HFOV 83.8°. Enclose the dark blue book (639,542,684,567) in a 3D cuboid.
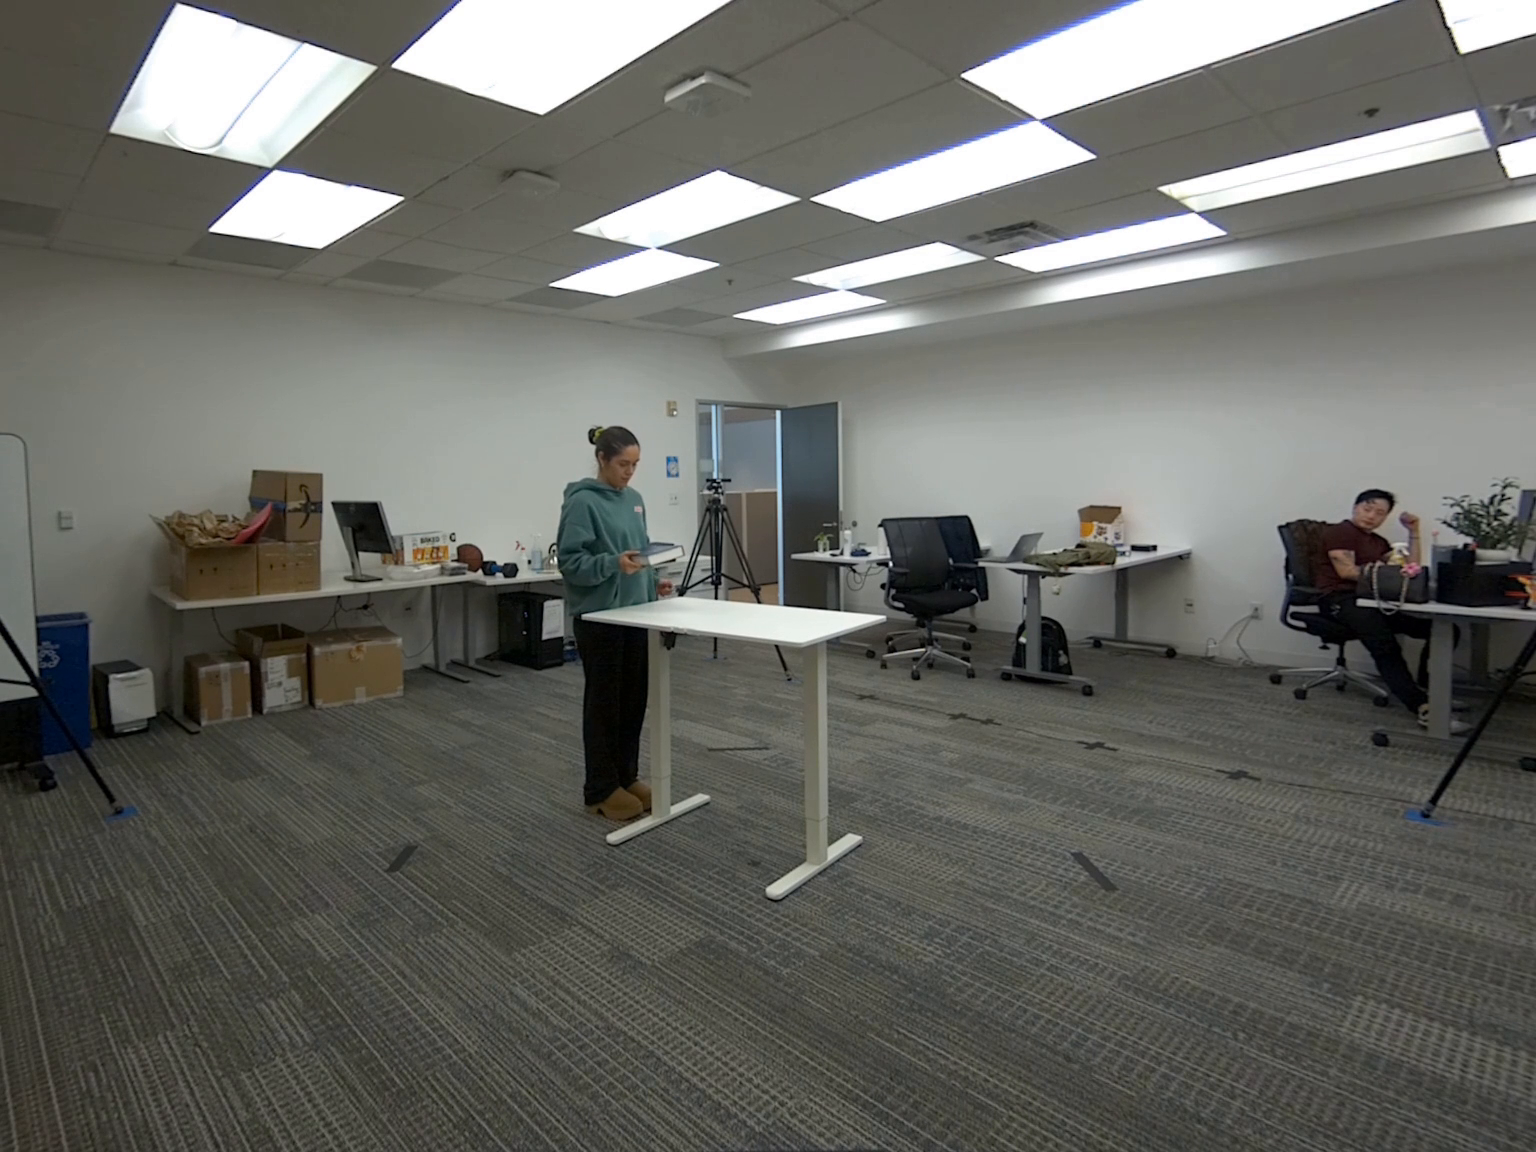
[{"bbox_3d":[-0.464,-0.076,3.366,0.160,0.045,0.252,-18,11,-35],"label":"dark blue book"}]
